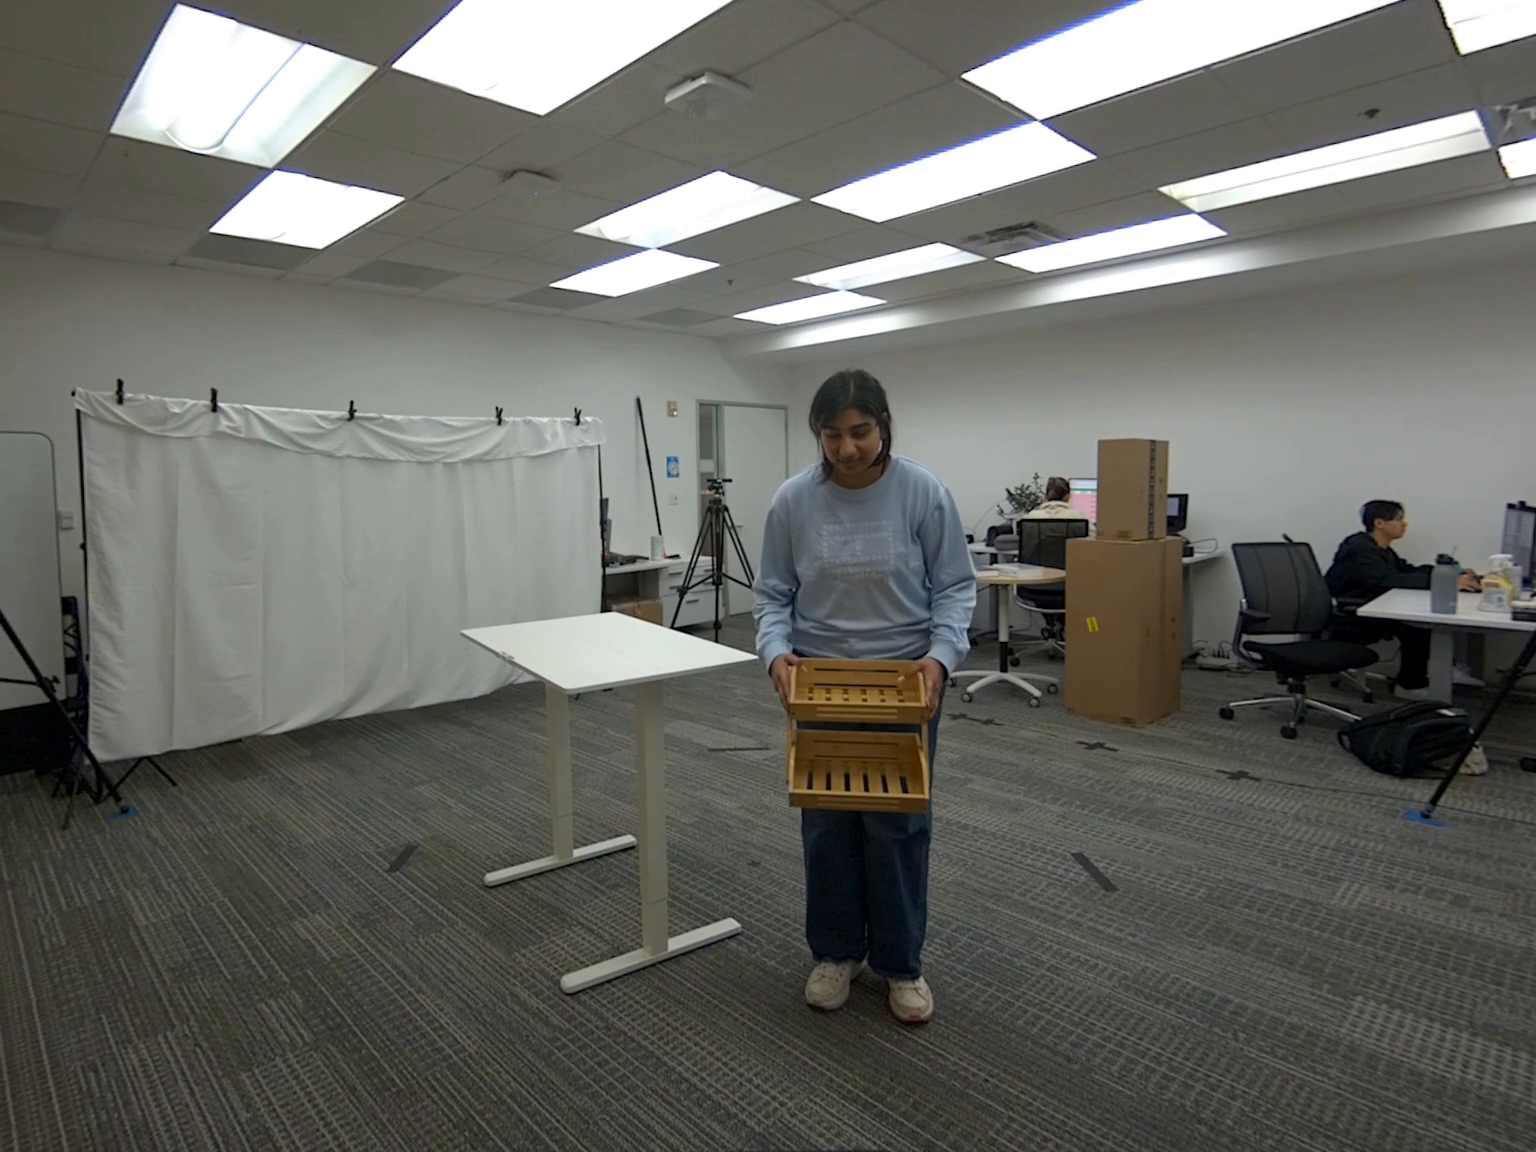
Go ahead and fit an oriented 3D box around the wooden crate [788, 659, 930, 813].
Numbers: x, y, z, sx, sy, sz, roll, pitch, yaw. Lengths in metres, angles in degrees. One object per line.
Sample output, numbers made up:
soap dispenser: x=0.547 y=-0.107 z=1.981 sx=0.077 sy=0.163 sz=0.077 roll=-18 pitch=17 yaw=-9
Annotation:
wooden crate: x=0.205 y=0.360 z=1.979 sx=0.327 sy=0.271 sz=0.302 roll=1 pitch=10 yaw=7
